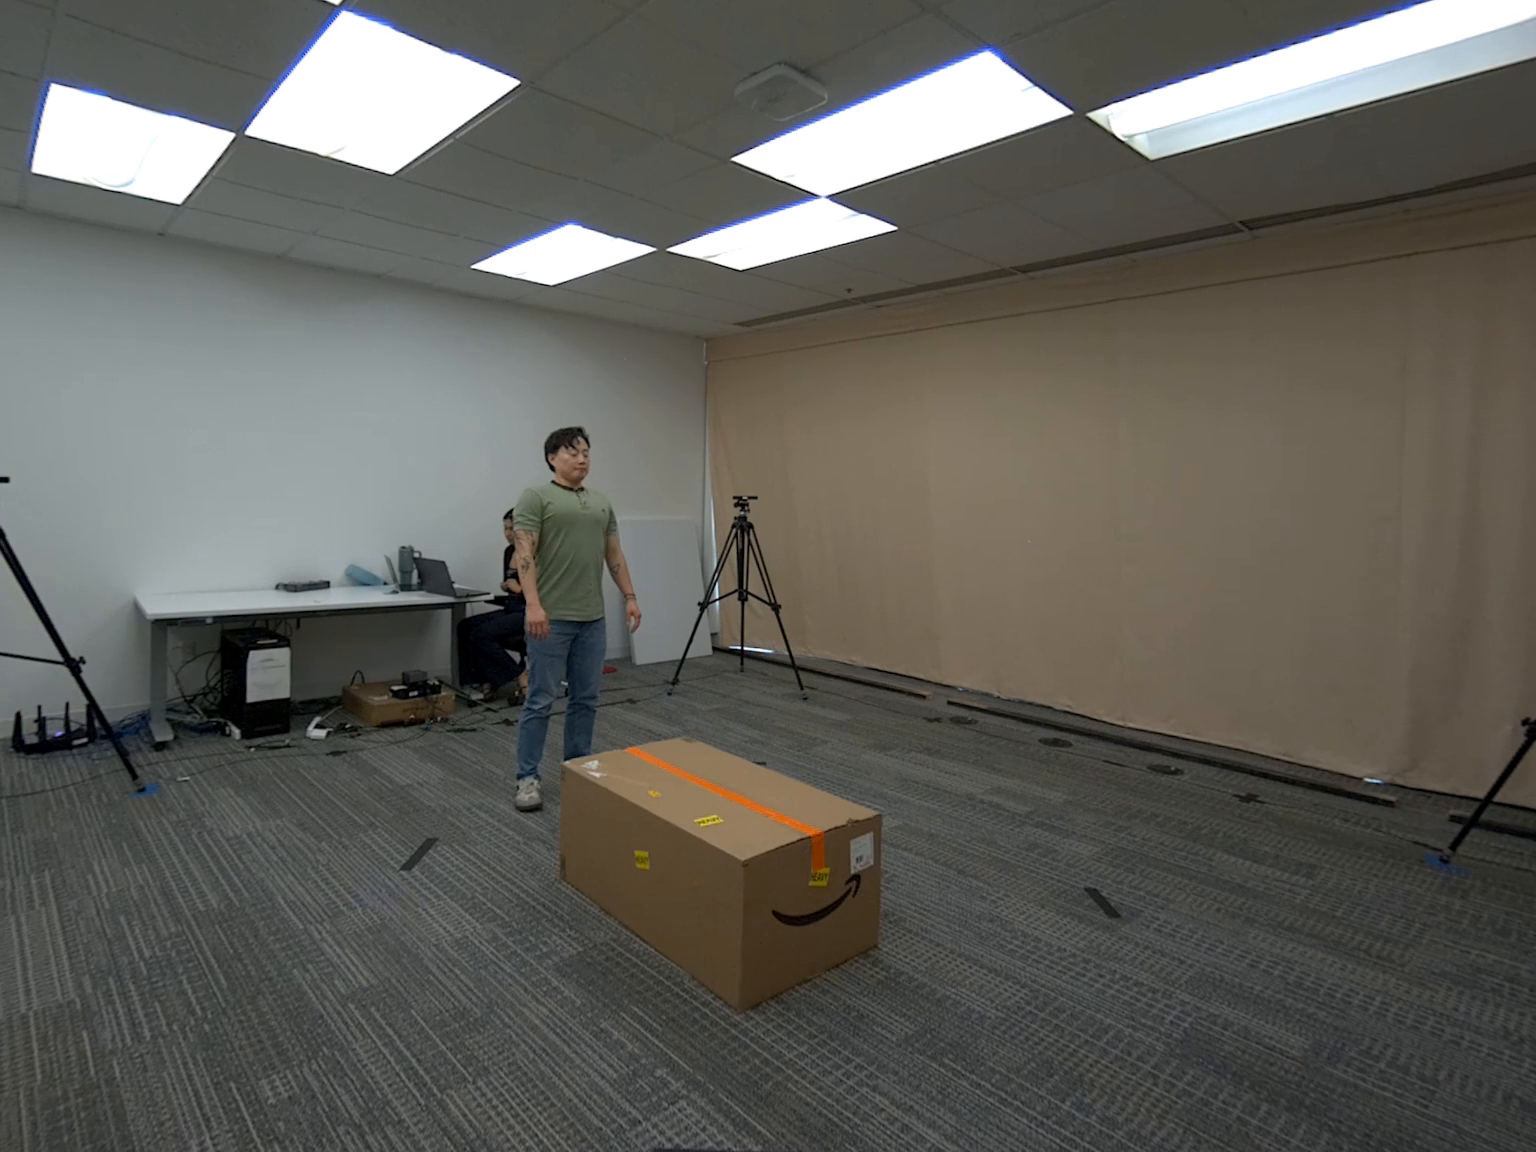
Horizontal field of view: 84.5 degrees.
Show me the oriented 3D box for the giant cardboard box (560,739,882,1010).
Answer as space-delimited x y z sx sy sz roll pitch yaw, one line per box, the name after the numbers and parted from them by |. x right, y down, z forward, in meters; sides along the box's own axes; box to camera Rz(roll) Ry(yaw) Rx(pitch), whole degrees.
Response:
-0.205 0.914 2.829 0.564 0.425 1.052 -3 7 -41 | giant cardboard box
